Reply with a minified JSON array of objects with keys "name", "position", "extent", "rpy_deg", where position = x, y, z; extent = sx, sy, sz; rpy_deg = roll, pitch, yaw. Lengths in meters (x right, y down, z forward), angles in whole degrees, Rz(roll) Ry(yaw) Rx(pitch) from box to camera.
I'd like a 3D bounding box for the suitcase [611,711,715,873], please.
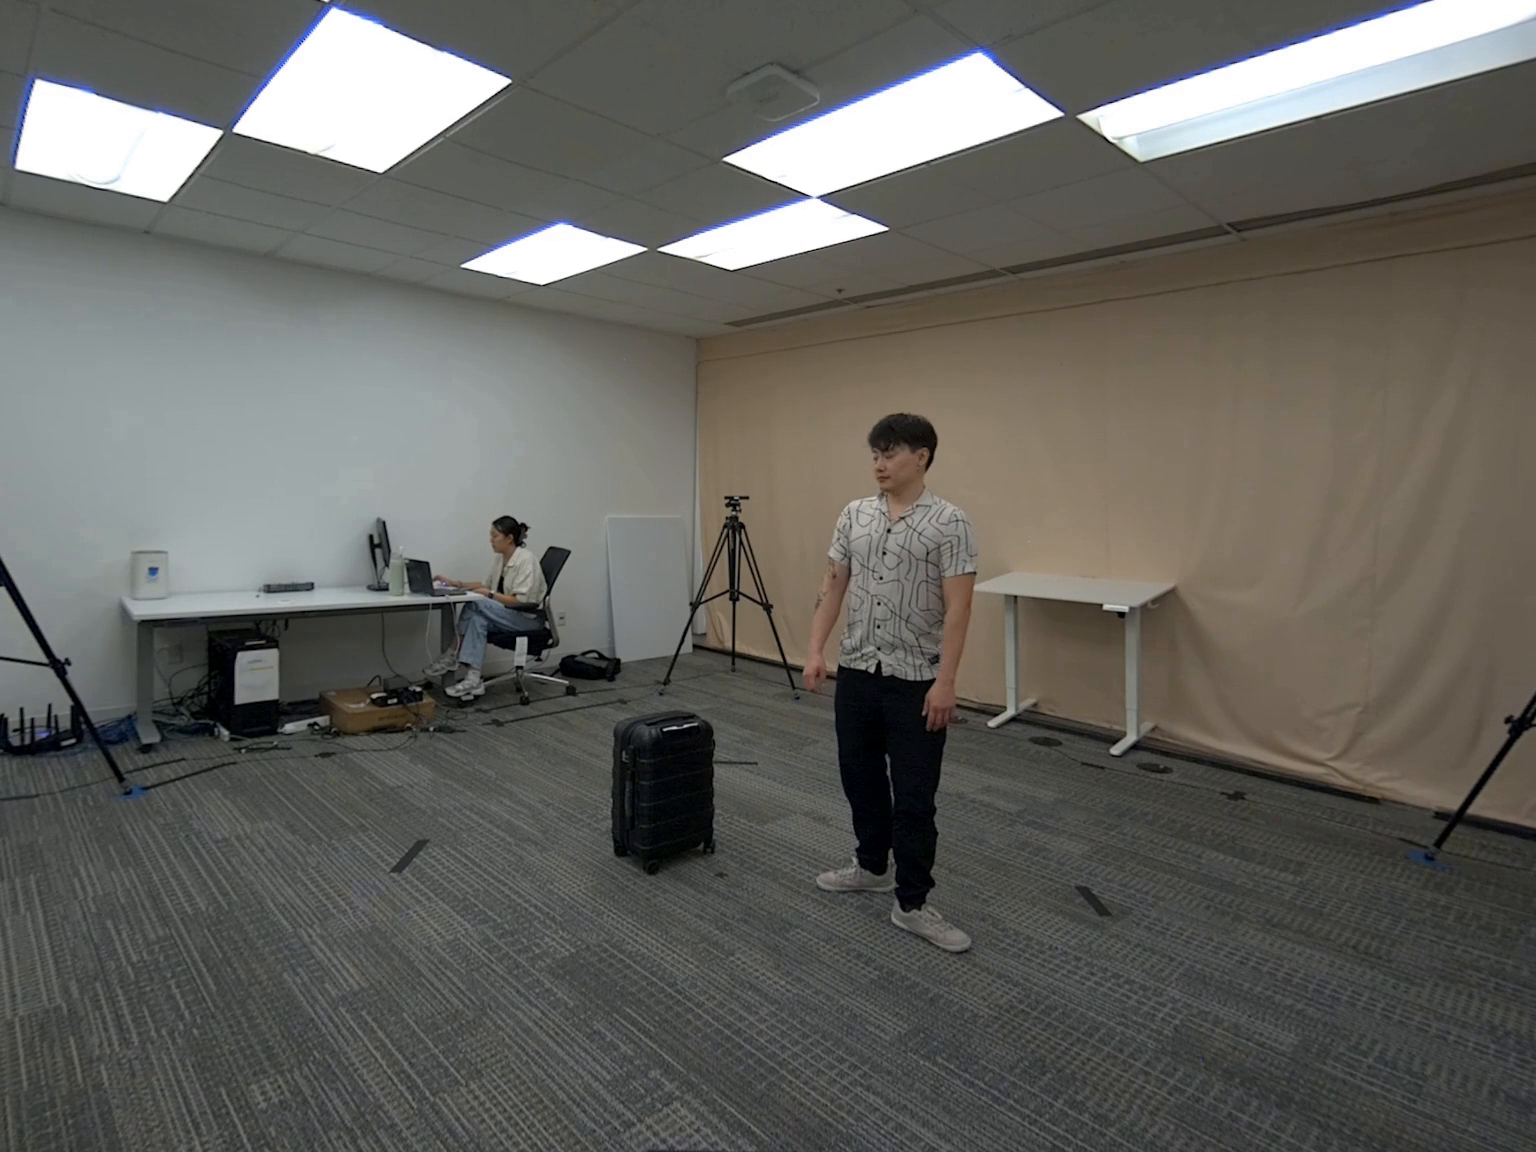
[{"name":"suitcase","position":[-0.415,0.807,3.254],"extent":[0.367,0.548,0.254],"rpy_deg":[-2,5,-40]}]
